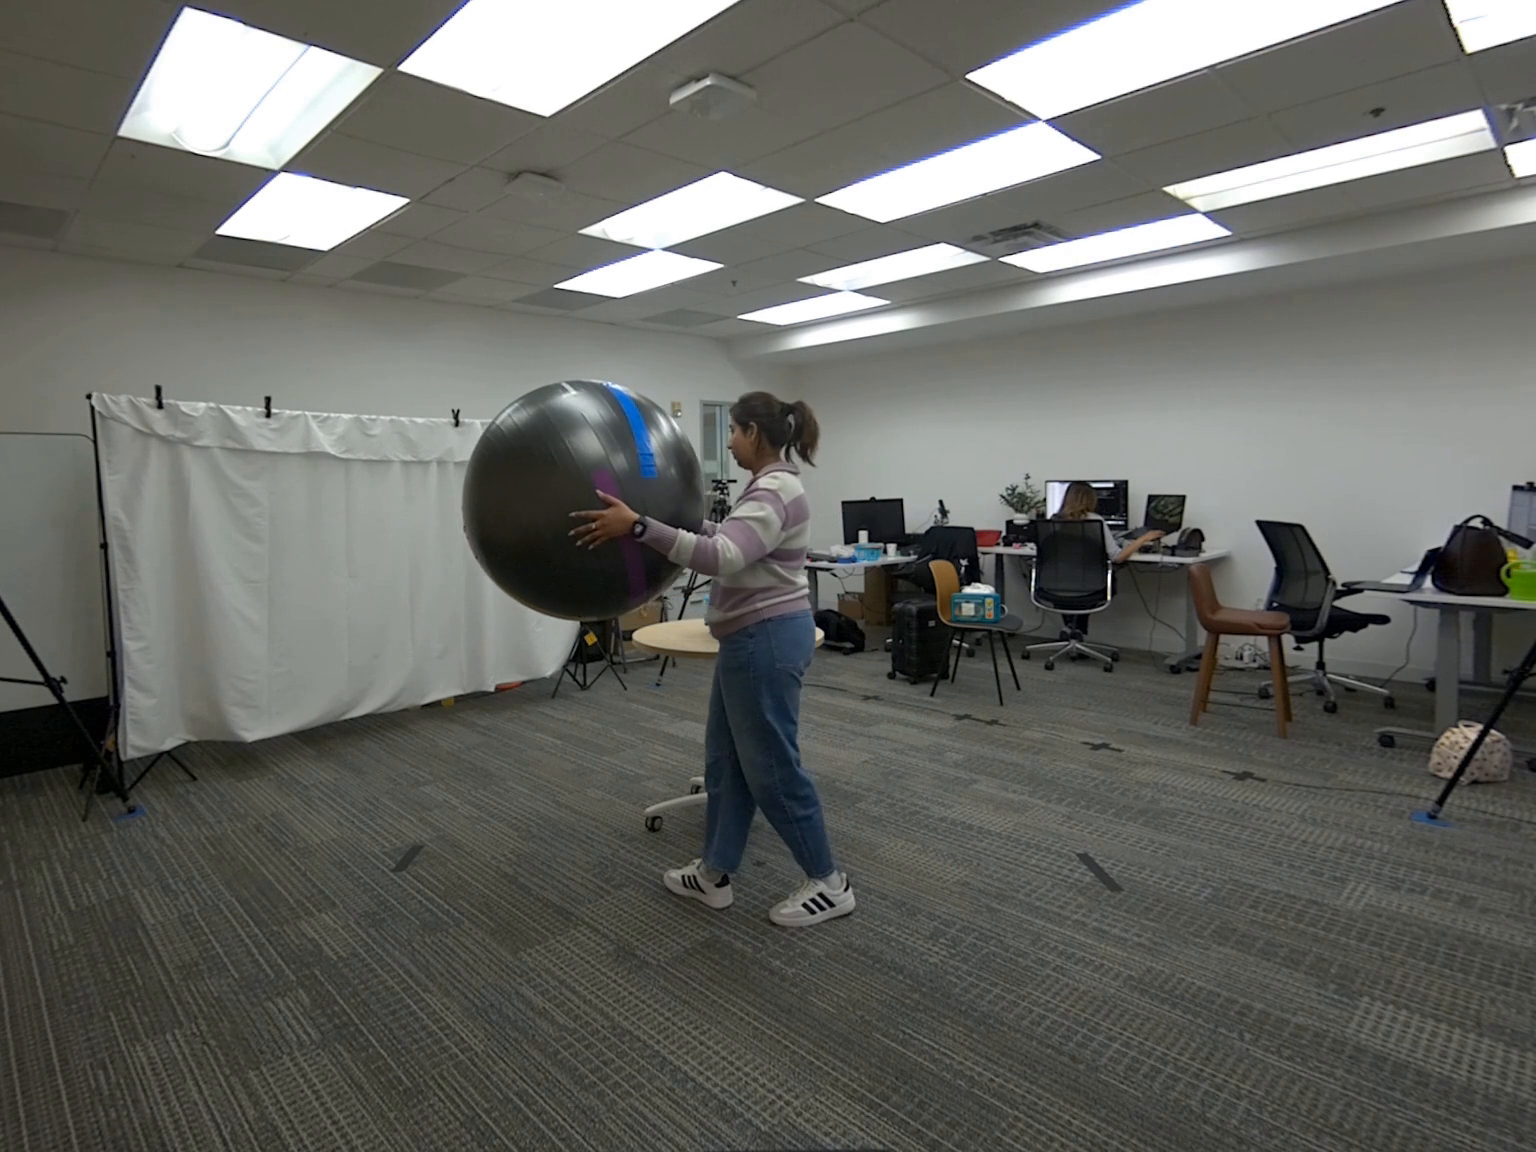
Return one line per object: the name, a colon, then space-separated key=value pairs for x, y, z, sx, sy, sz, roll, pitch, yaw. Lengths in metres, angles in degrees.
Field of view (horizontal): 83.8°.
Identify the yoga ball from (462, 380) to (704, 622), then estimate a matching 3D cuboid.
yoga ball: x=-0.581 y=-0.231 z=2.716 sx=0.757 sy=0.755 sz=0.762 roll=-1 pitch=5 yaw=-2
